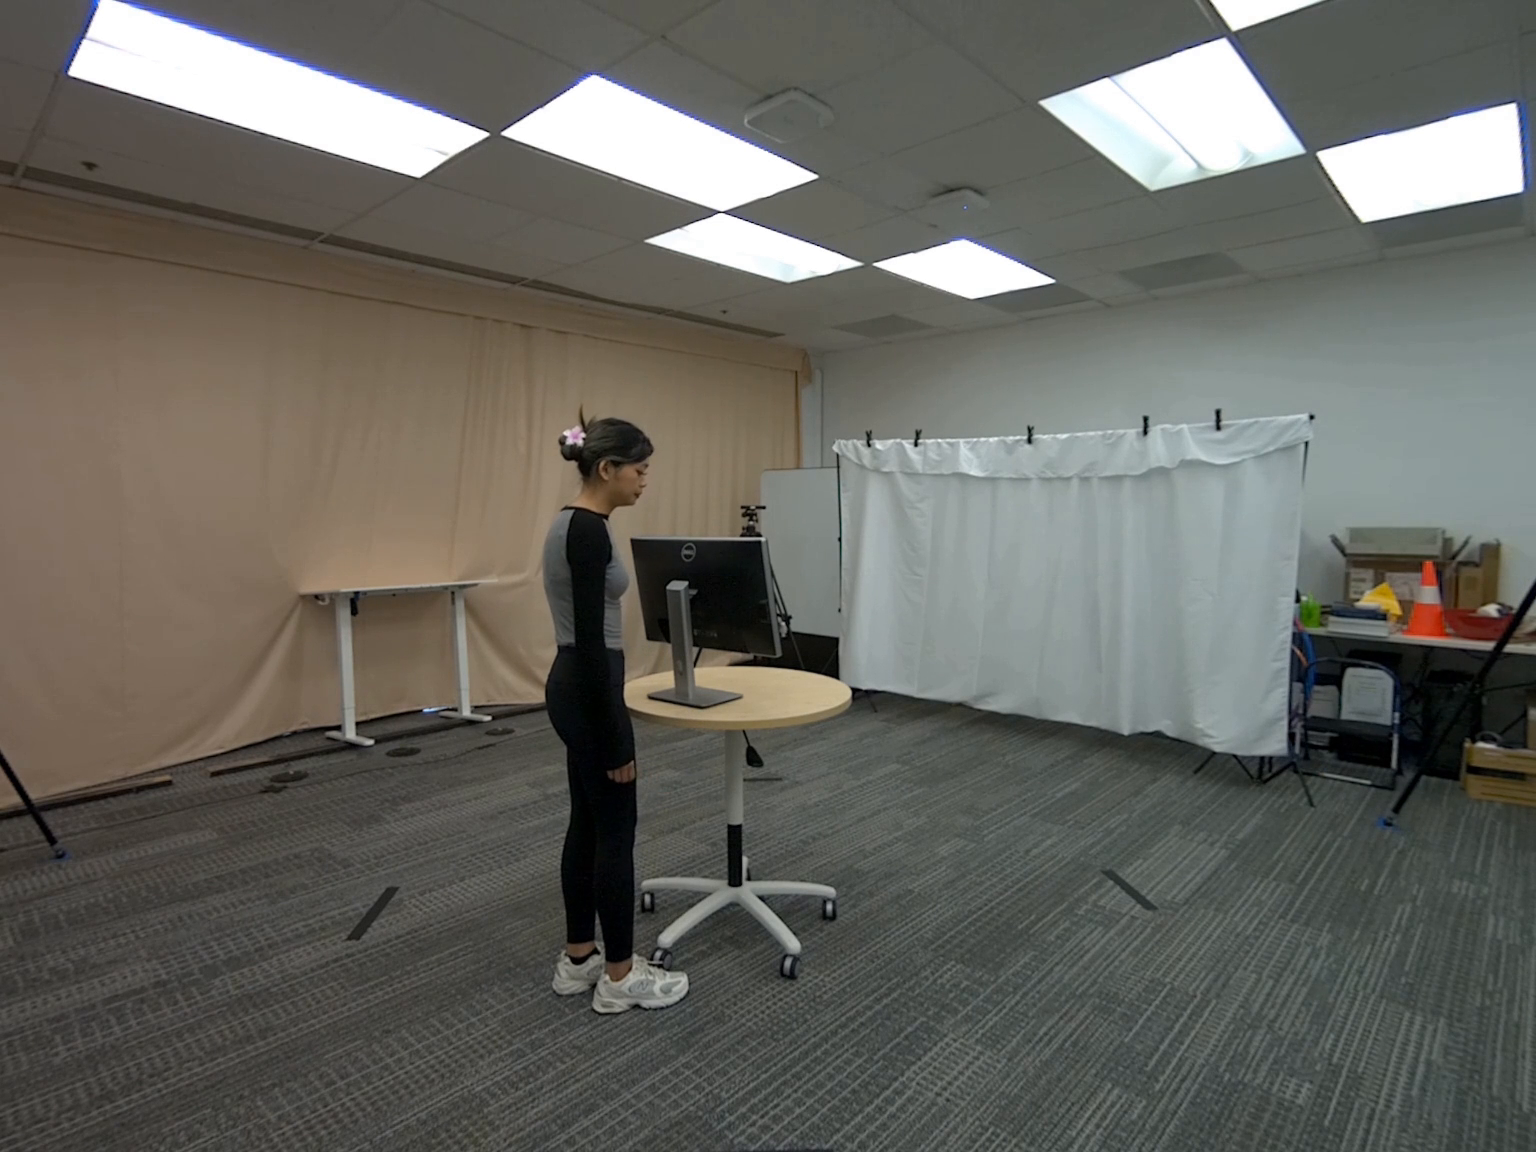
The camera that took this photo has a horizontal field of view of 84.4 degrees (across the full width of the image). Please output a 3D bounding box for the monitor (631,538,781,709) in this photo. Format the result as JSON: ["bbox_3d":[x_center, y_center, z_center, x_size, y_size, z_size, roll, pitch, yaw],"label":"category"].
[{"bbox_3d":[-0.224,0.138,2.641,0.547,0.517,0.169,0,-4,39],"label":"monitor"}]
